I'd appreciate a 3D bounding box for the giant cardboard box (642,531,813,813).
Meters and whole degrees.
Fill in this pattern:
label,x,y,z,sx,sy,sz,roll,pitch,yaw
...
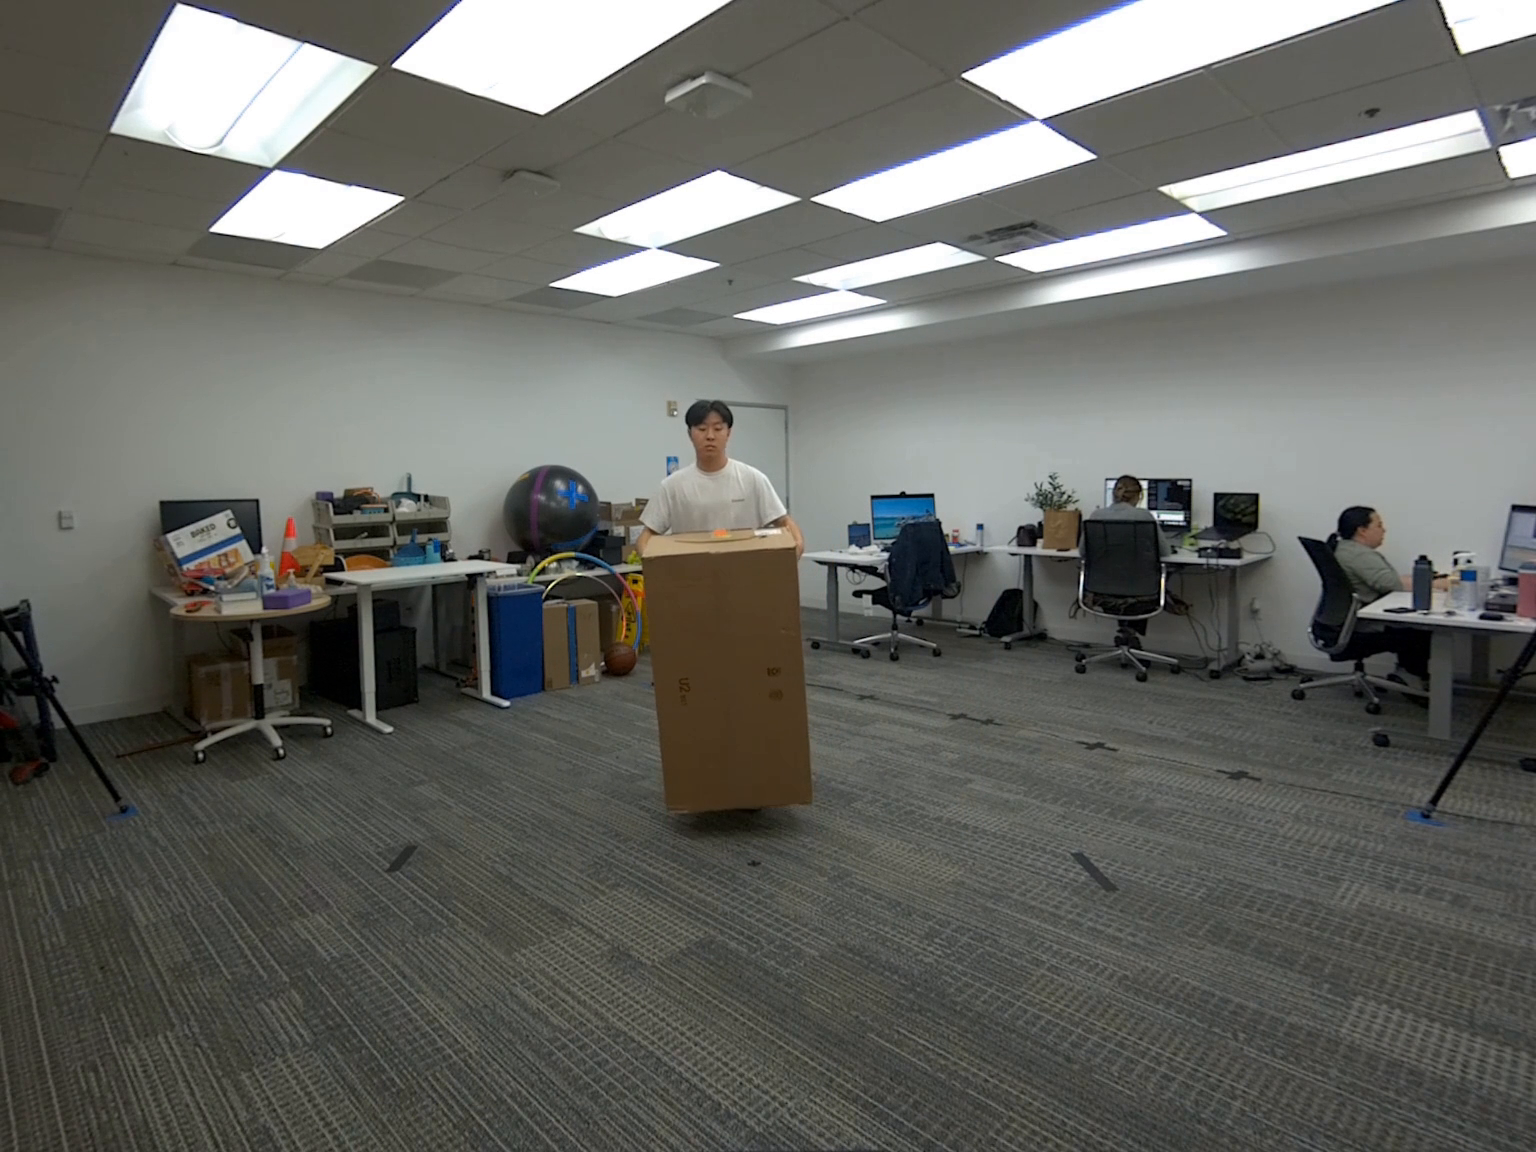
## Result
label,x,y,z,sx,sy,sz,roll,pitch,yaw
giant cardboard box,-0.149,0.360,3.403,0.577,1.015,0.431,-4,11,-1
